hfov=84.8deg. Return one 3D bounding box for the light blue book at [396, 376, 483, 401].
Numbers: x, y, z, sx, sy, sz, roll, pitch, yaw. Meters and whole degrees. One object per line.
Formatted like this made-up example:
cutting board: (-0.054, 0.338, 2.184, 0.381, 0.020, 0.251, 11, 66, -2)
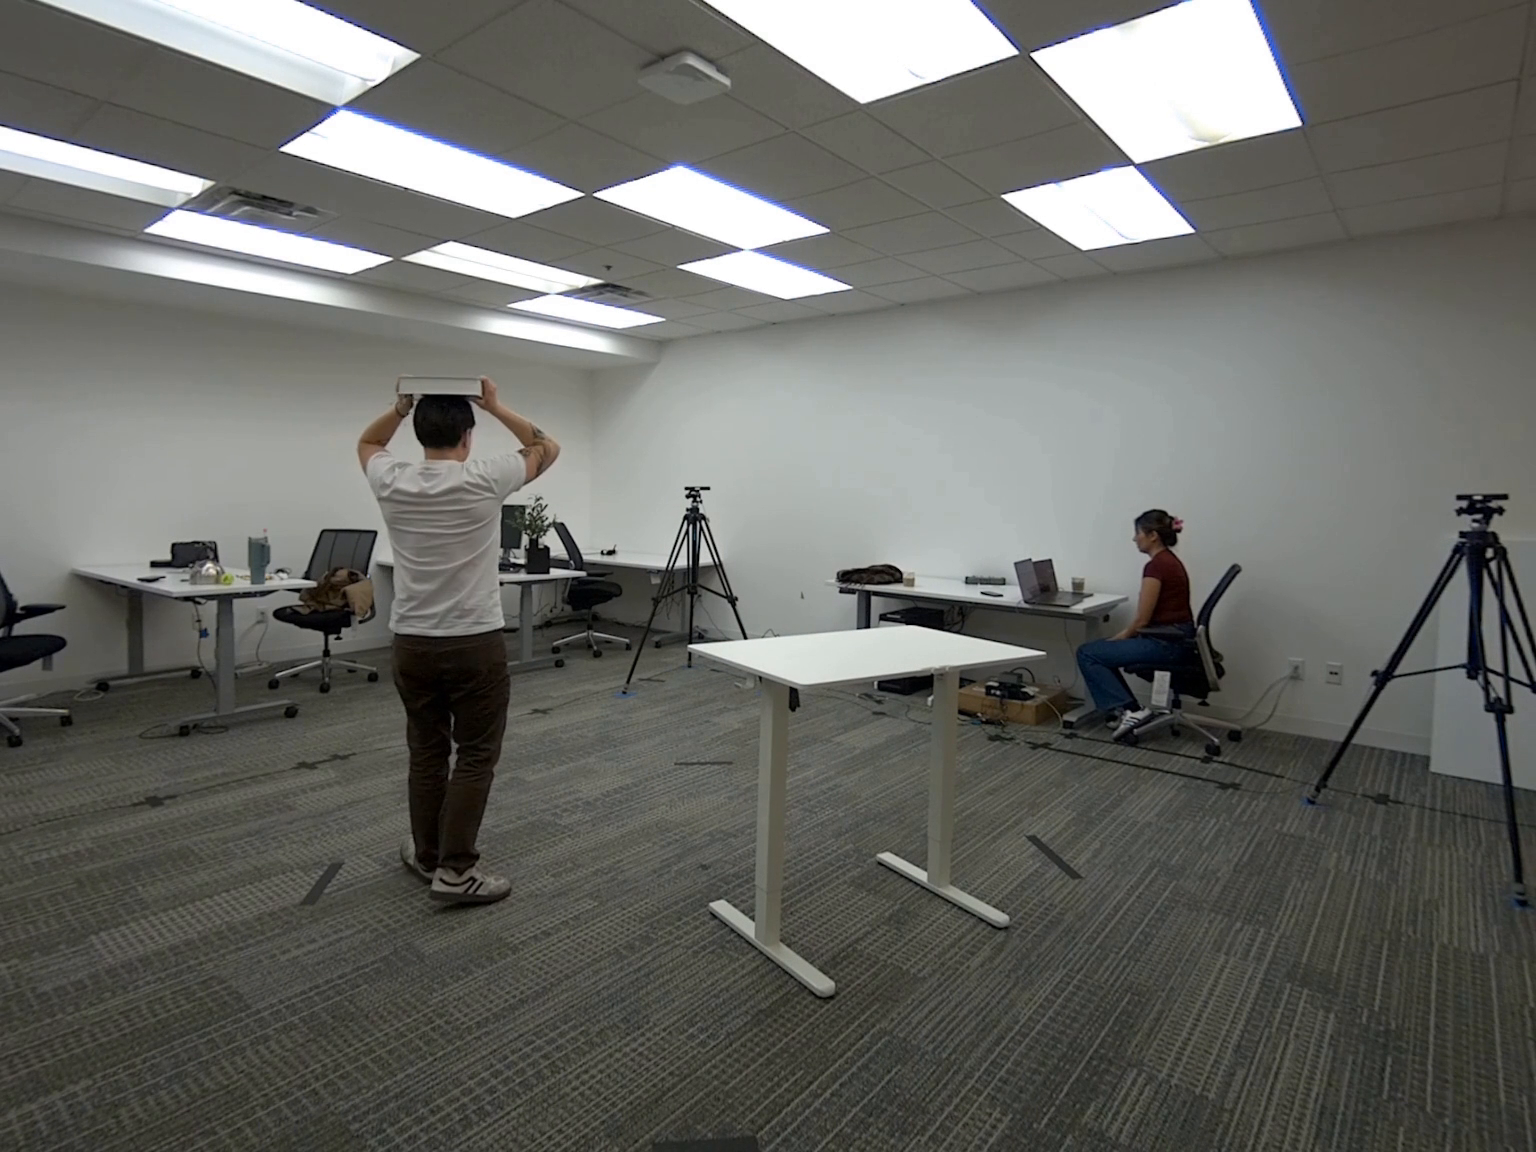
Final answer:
light blue book: (-1.117, -0.637, 2.875, 0.259, 0.059, 0.194, 2, 6, -8)
